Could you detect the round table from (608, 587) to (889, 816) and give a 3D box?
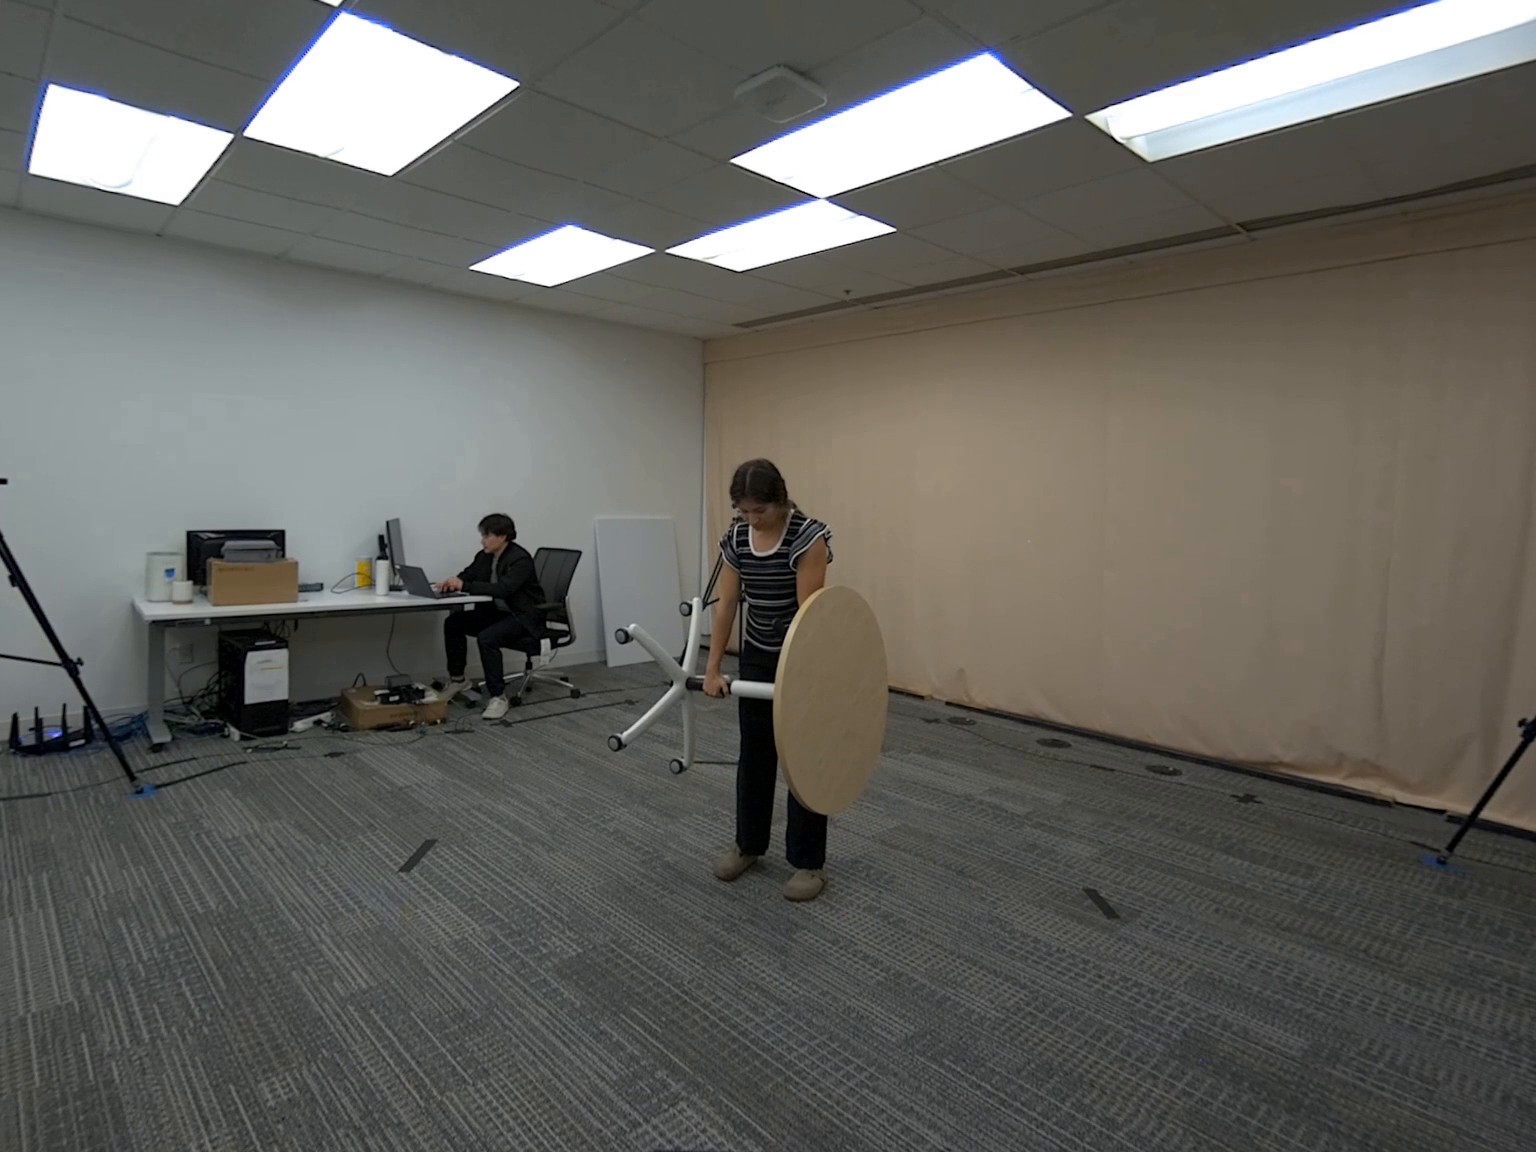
[{"bbox_3d":[-0.095,0.426,3.094,0.811,0.763,0.748,-1,2,35],"label":"round table"}]
